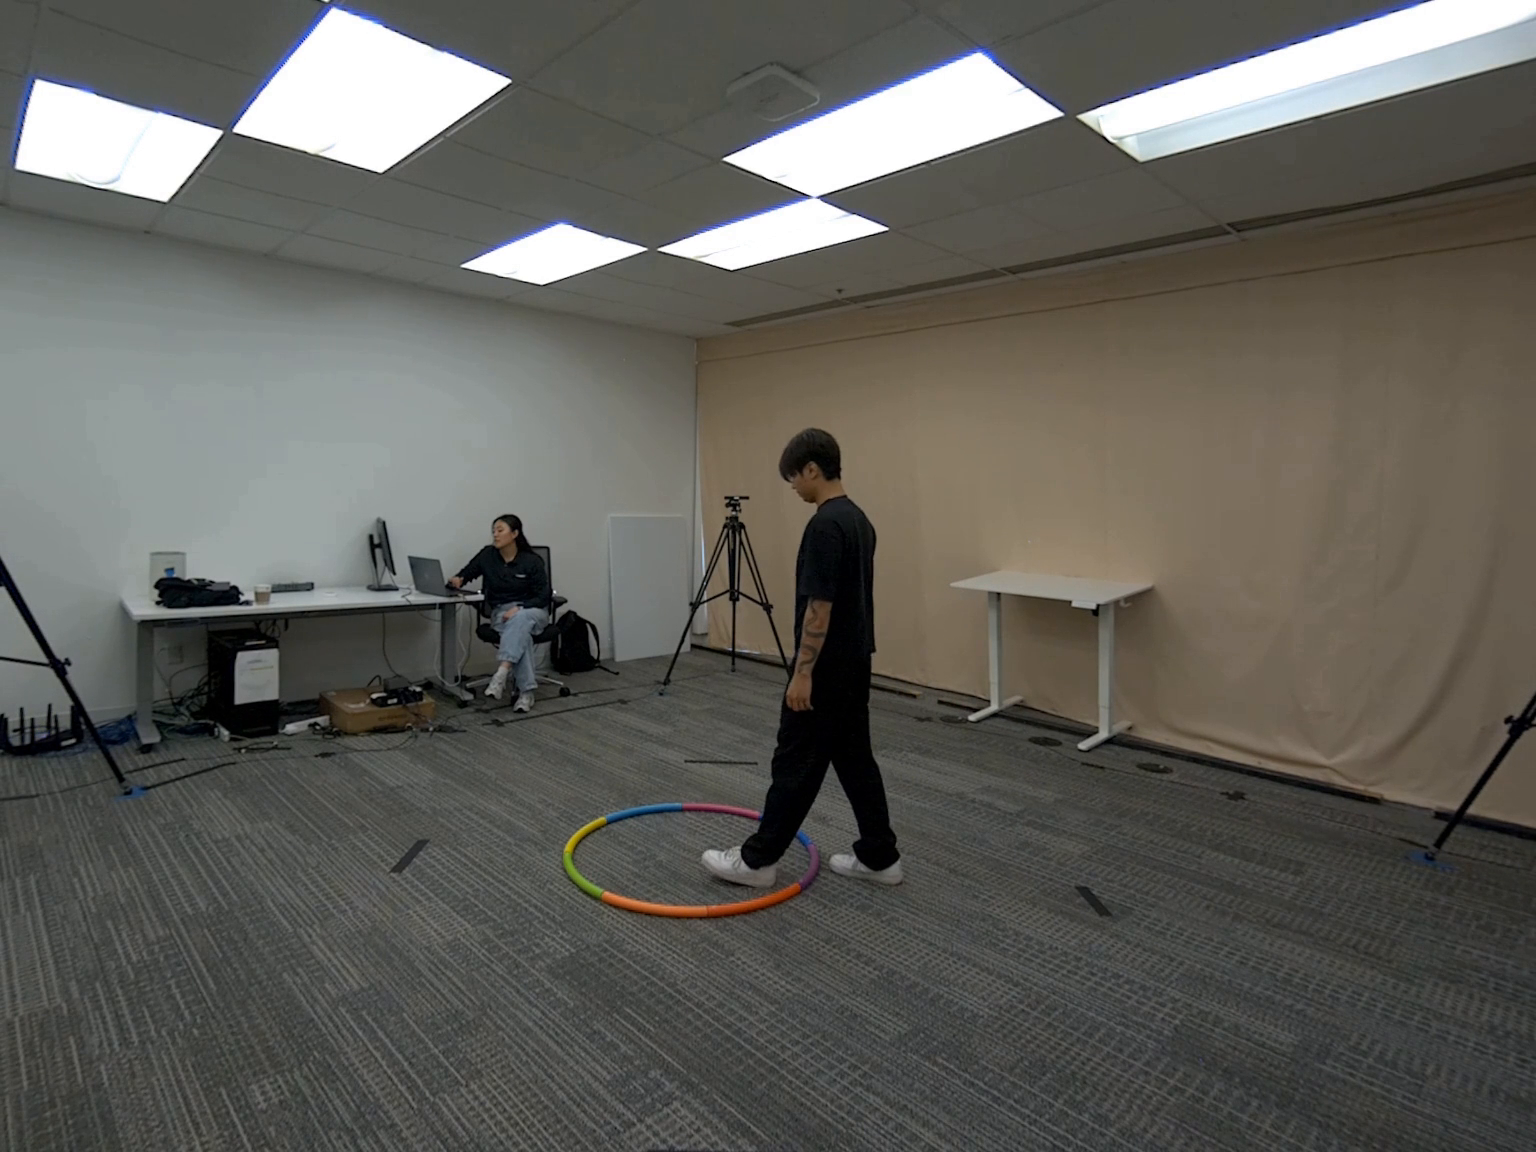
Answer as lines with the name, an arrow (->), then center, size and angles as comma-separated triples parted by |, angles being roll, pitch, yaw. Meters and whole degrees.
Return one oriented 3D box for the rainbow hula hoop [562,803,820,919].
rainbow hula hoop -> -0.298, 1.057, 3.264 | 0.978, 0.035, 0.982 | 2, 5, -1
